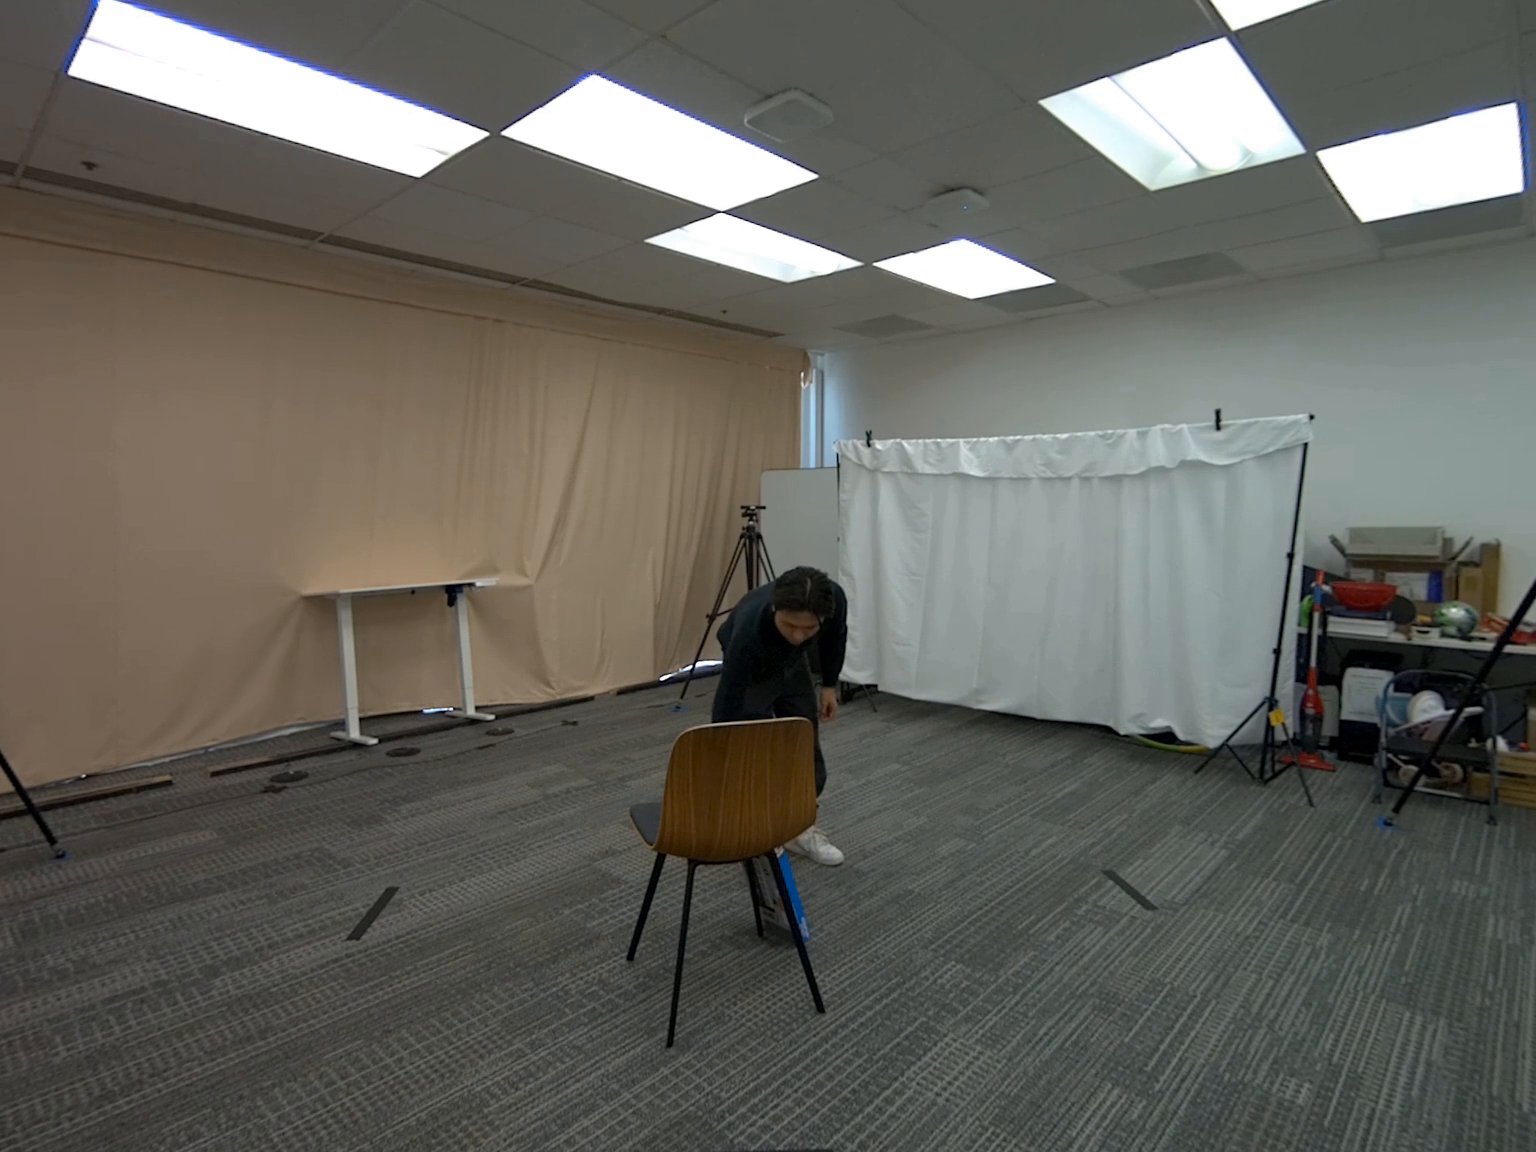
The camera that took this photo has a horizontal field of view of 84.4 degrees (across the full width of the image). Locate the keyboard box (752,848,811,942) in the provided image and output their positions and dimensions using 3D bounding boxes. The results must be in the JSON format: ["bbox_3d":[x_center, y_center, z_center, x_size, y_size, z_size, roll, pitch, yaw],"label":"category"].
[{"bbox_3d":[0.005,0.951,2.672,0.182,0.430,0.058,4,24,45],"label":"keyboard box"}]
